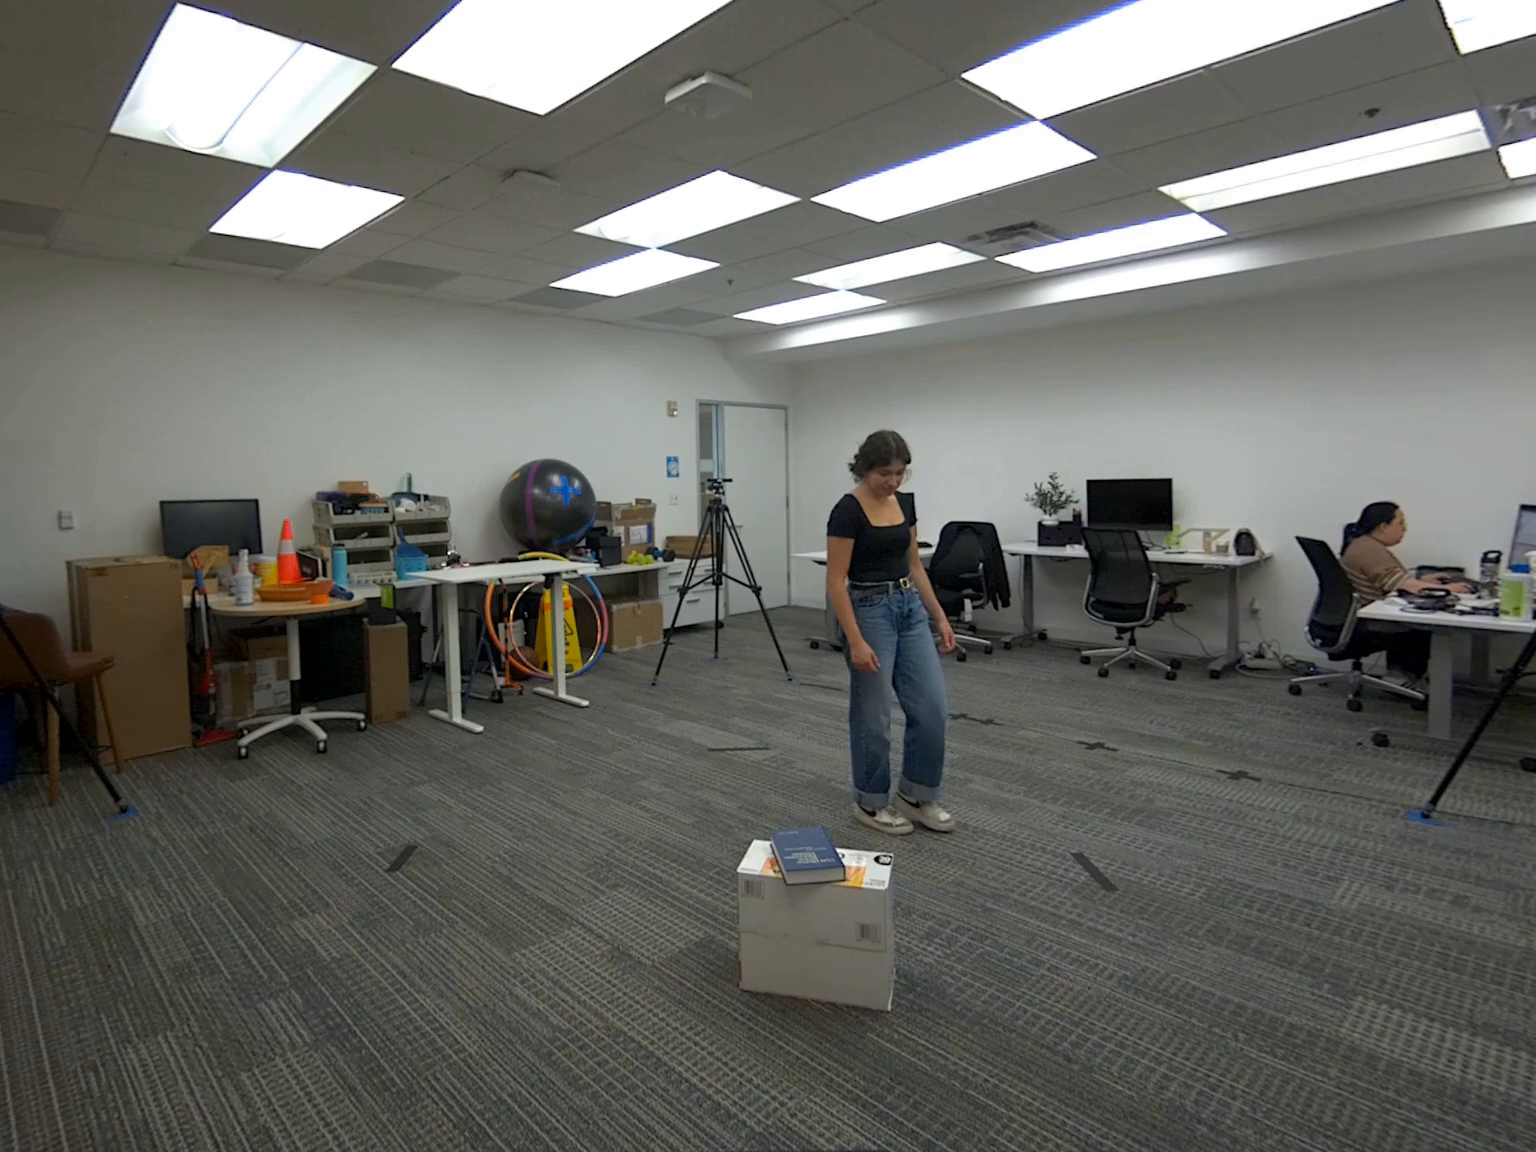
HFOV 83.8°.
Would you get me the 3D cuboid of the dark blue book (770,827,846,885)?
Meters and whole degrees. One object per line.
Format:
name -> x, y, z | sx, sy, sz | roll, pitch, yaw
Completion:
dark blue book -> 0.110, 0.770, 2.348 | 0.162, 0.045, 0.248 | -3, 7, -10
